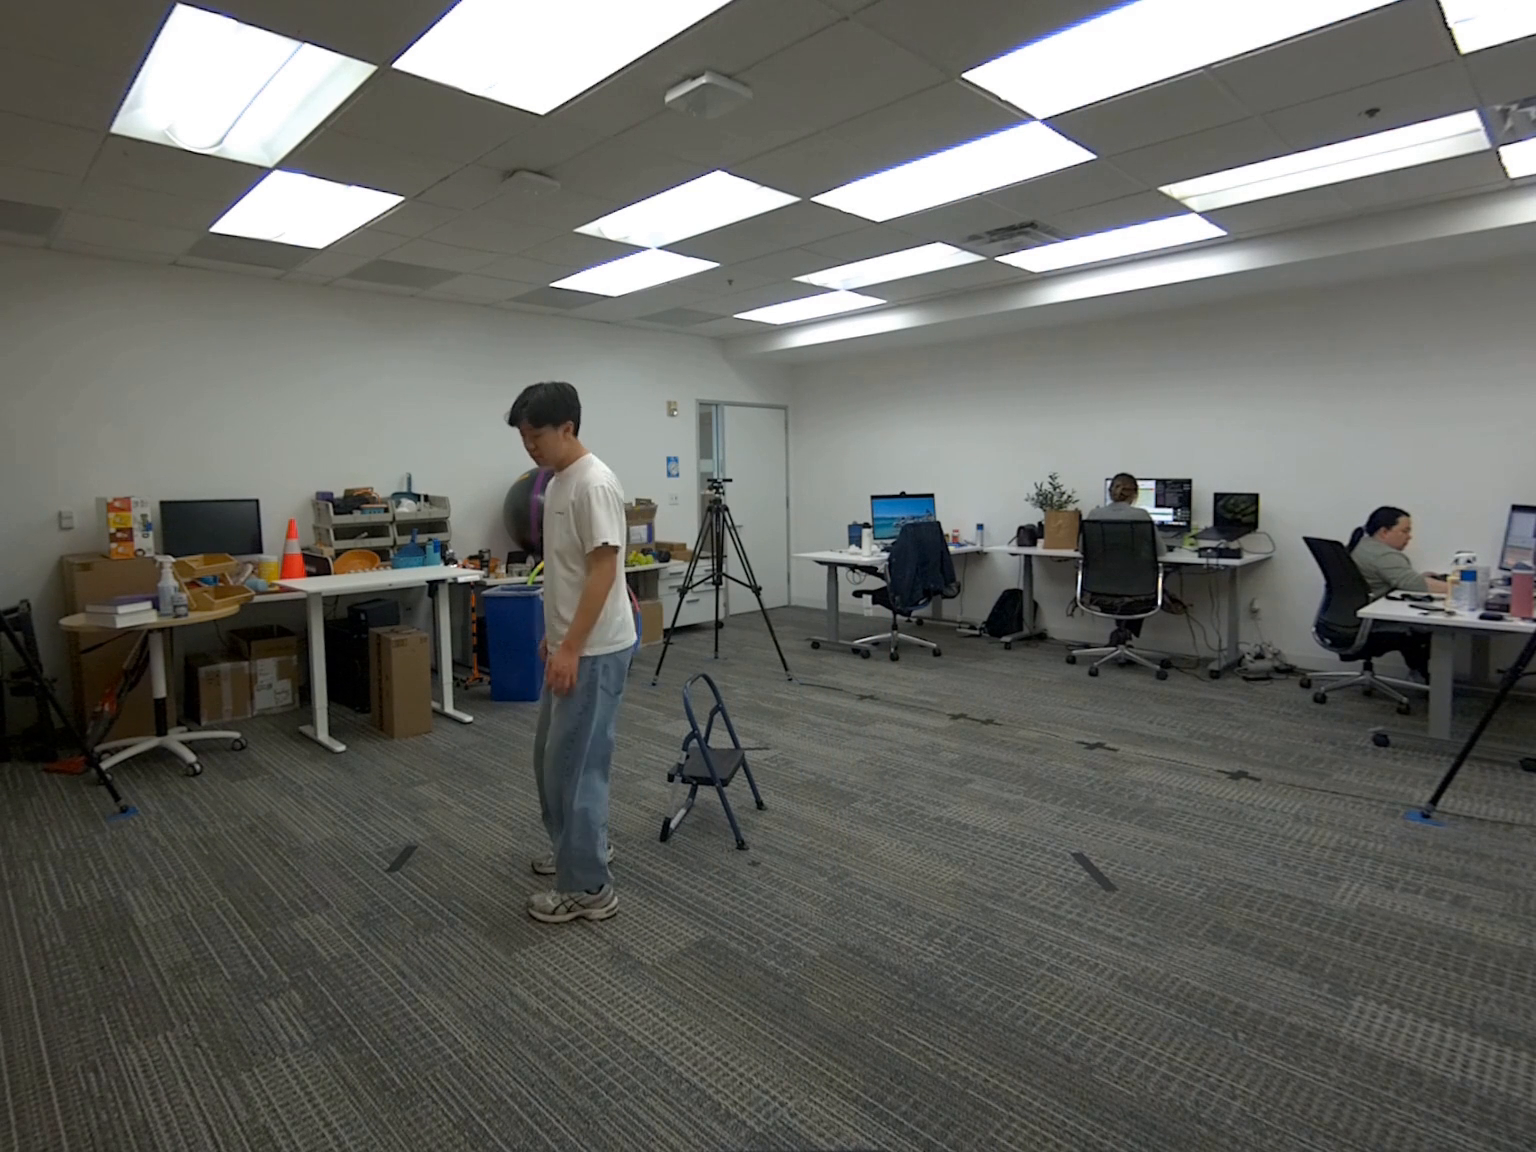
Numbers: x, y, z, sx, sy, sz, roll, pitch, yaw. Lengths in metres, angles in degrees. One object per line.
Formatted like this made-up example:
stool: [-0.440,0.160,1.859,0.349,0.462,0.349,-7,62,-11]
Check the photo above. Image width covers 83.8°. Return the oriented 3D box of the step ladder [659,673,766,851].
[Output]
step ladder: [-0.221,0.707,3.446,0.353,0.604,0.427,0,4,11]
